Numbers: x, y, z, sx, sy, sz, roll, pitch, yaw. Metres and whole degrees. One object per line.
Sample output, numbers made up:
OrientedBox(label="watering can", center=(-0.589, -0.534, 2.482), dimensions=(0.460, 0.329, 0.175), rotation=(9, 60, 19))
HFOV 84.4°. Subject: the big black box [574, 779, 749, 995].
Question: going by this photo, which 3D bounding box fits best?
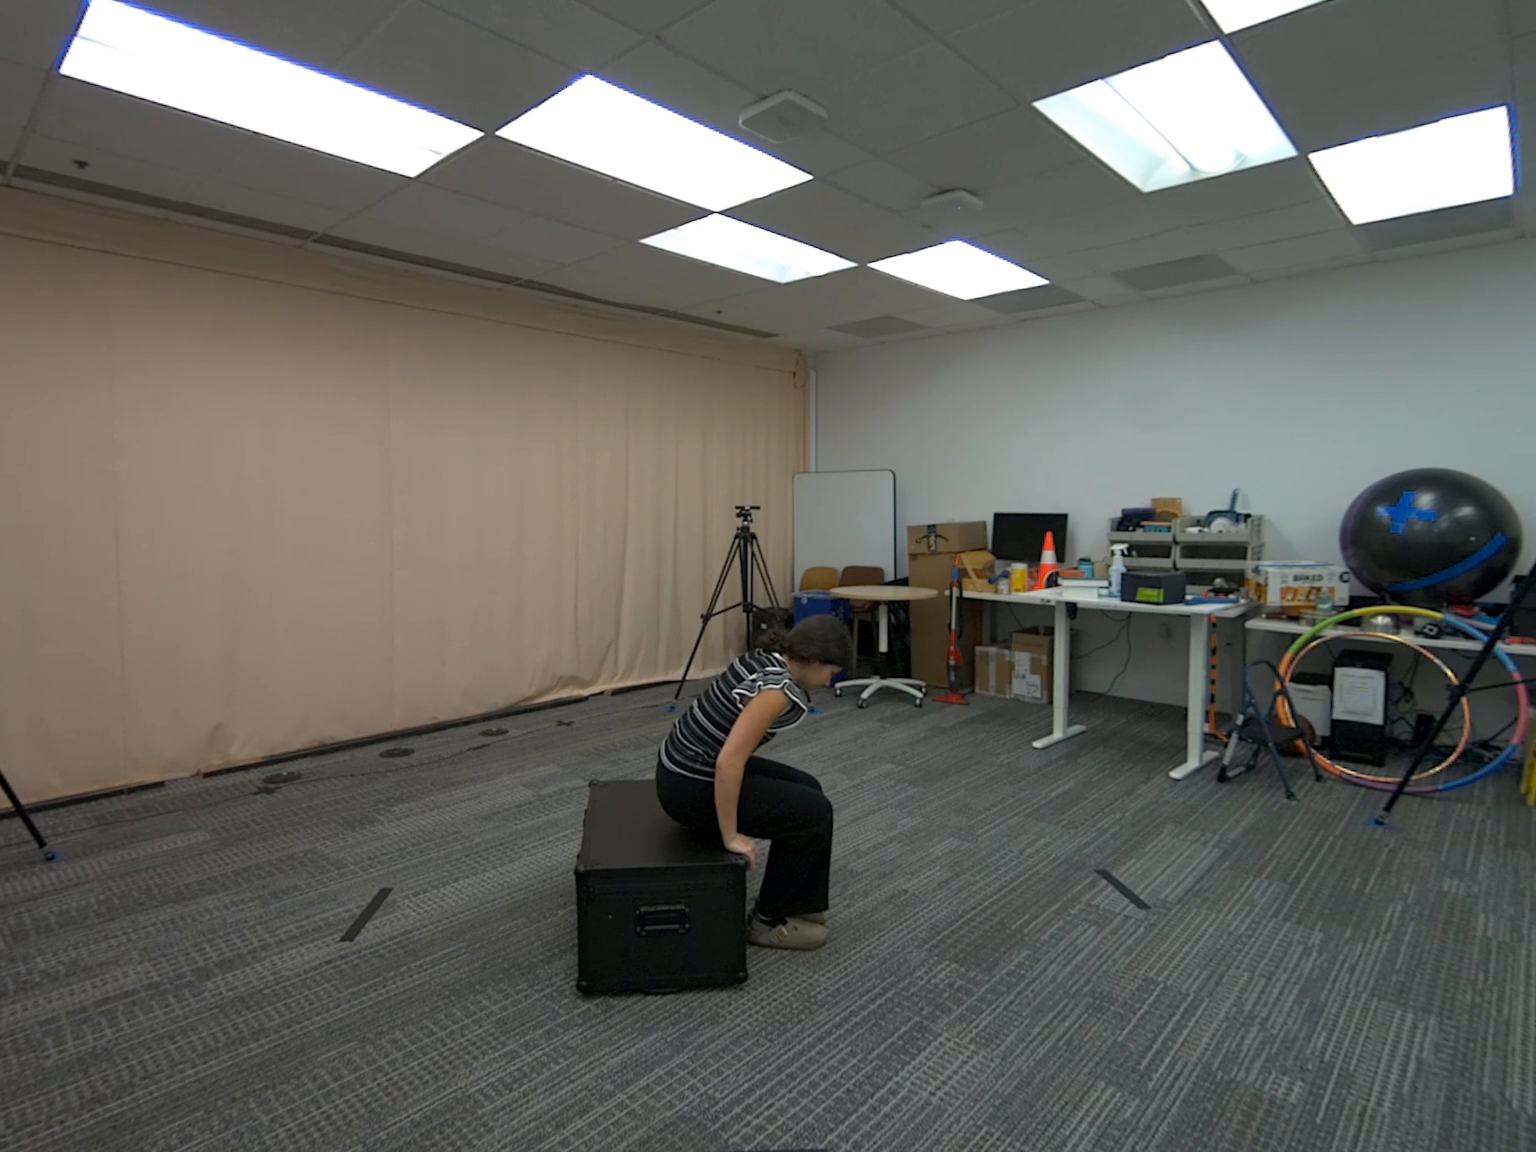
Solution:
OrientedBox(label="big black box", center=(-0.362, 0.968, 2.804), dimensions=(0.517, 0.395, 0.871), rotation=(0, 4, -9))
